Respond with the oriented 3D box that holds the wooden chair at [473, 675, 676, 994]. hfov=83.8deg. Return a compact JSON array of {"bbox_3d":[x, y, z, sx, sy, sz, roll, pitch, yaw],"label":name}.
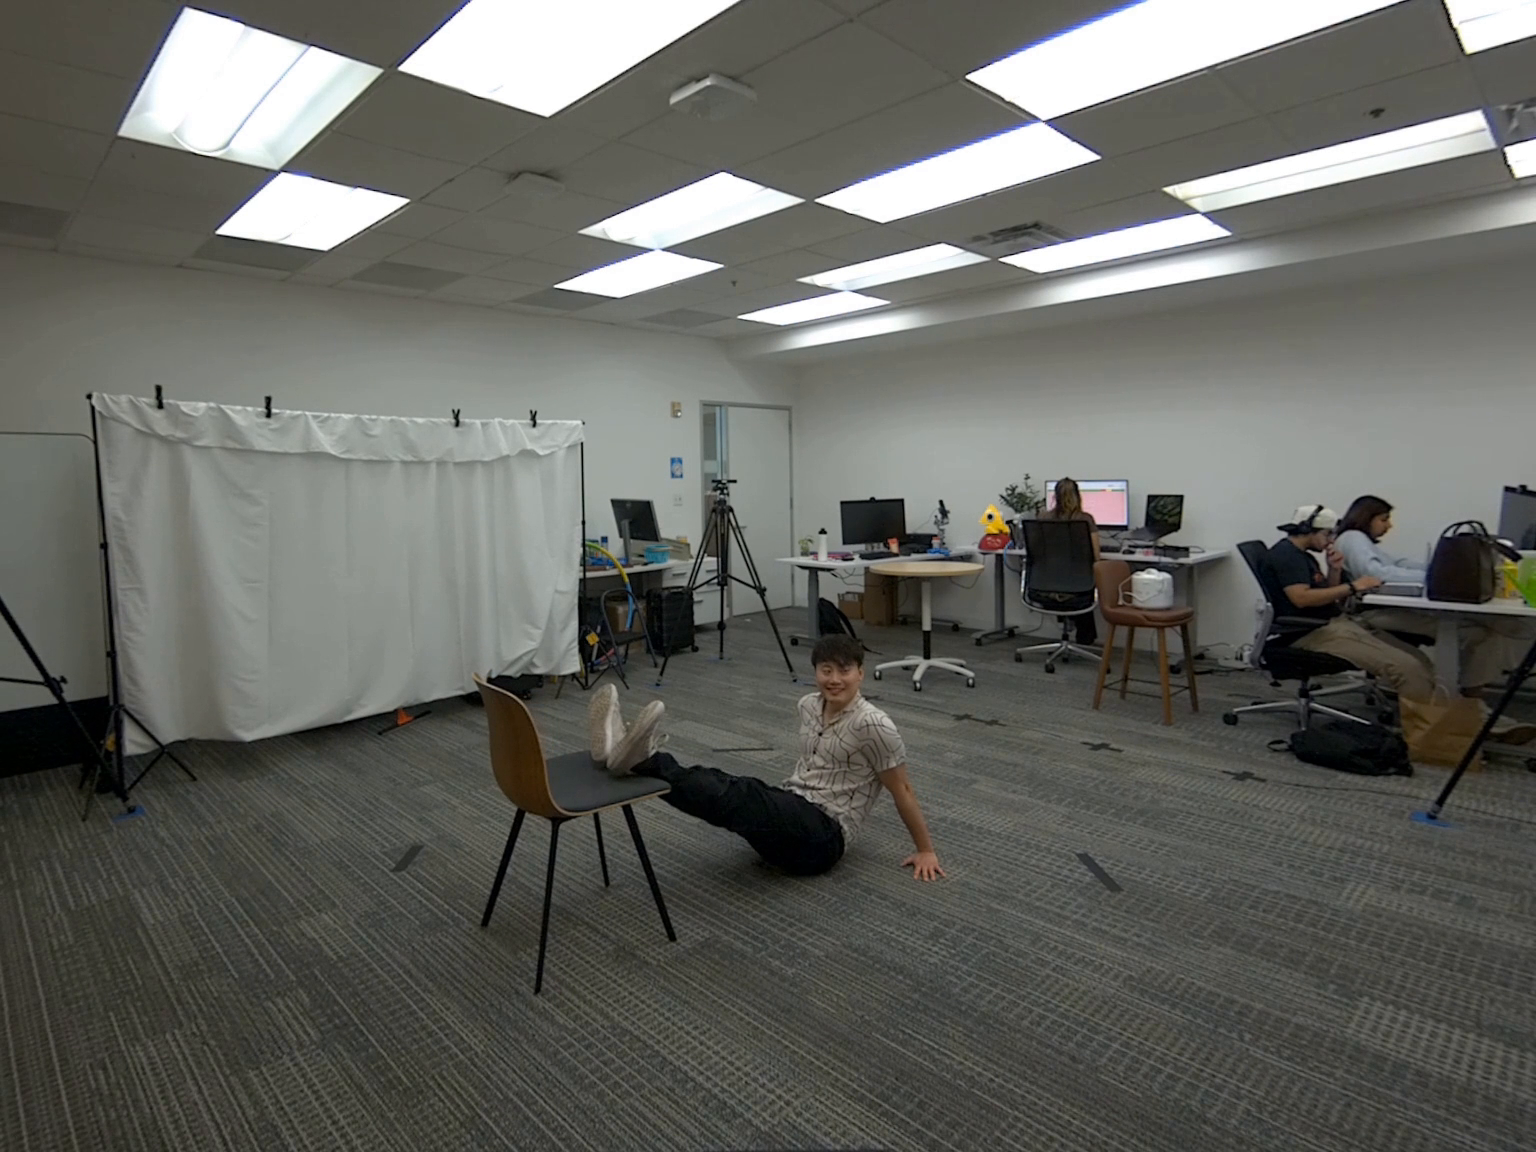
[{"bbox_3d":[-0.592,0.686,2.626,0.511,0.872,0.492,-9,8,-36],"label":"wooden chair"}]
